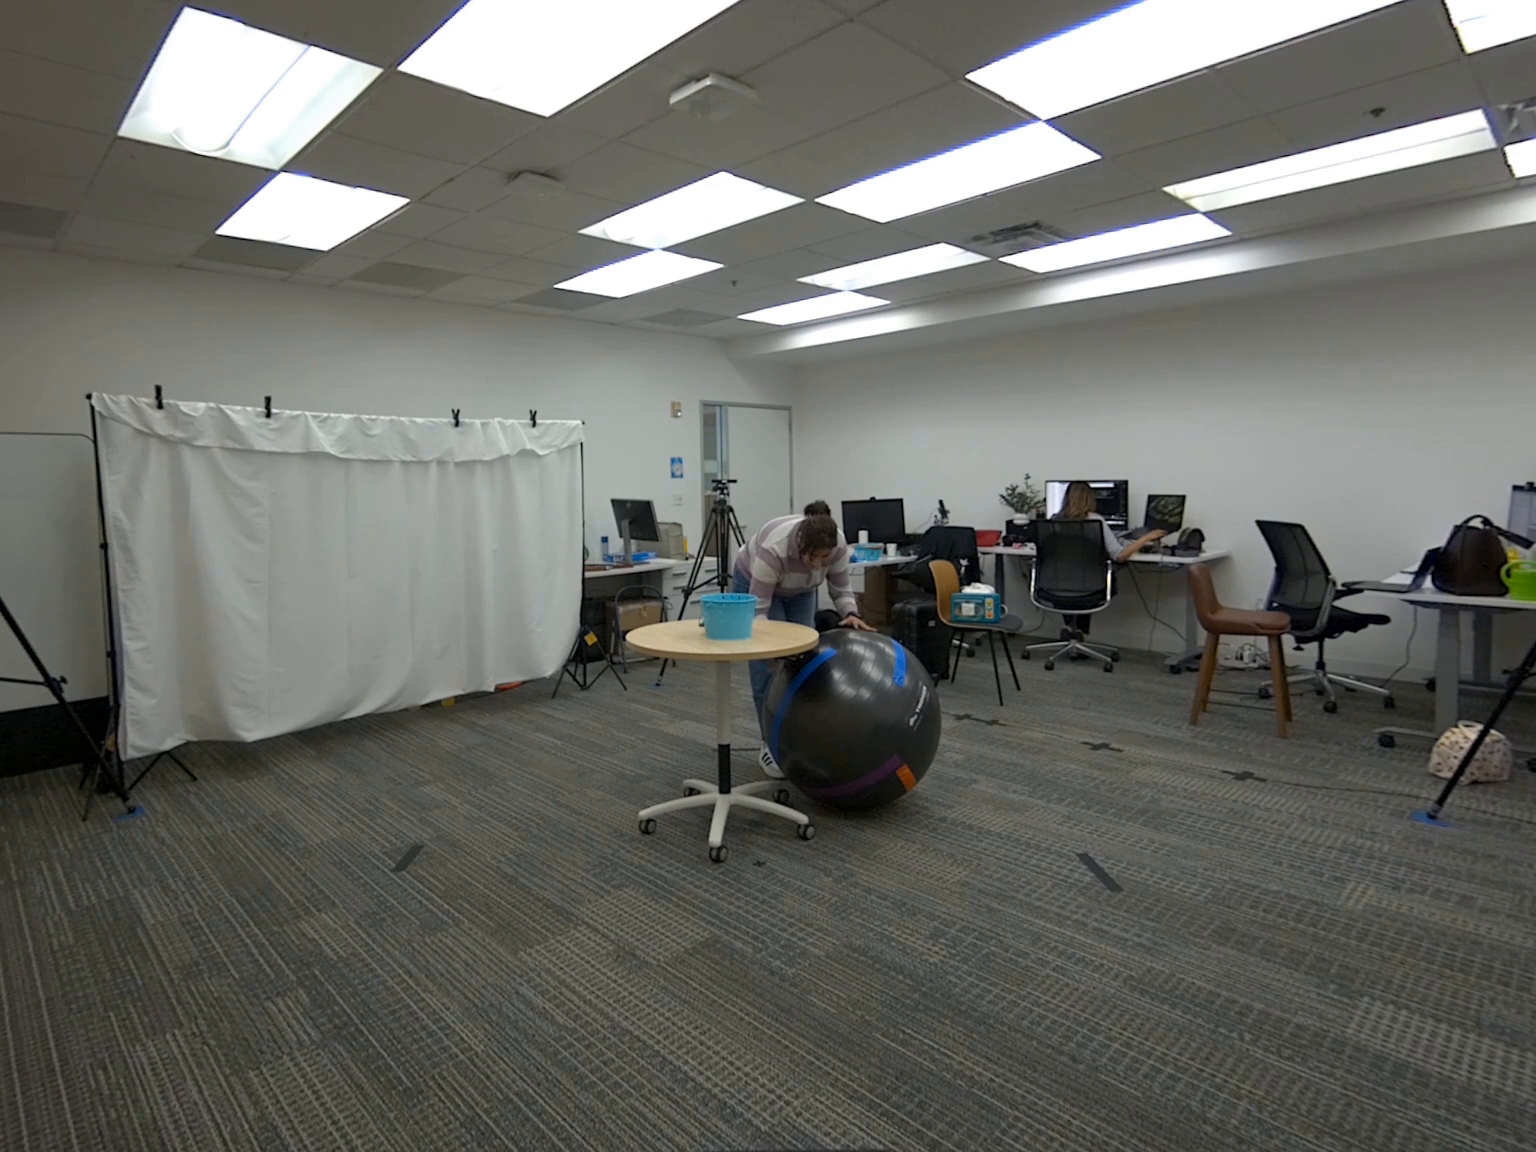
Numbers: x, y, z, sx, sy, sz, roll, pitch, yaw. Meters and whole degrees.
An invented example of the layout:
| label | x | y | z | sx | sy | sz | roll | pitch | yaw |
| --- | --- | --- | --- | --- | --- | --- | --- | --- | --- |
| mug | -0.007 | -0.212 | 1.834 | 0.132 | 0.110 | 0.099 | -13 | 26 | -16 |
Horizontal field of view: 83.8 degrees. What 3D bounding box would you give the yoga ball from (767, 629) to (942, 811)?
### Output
| label | x | y | z | sx | sy | sz | roll | pitch | yaw |
| --- | --- | --- | --- | --- | --- | --- | --- | --- | --- |
| yoga ball | 0.364 | 0.609 | 3.657 | 0.757 | 0.755 | 0.762 | -1 | 5 | -2 |
